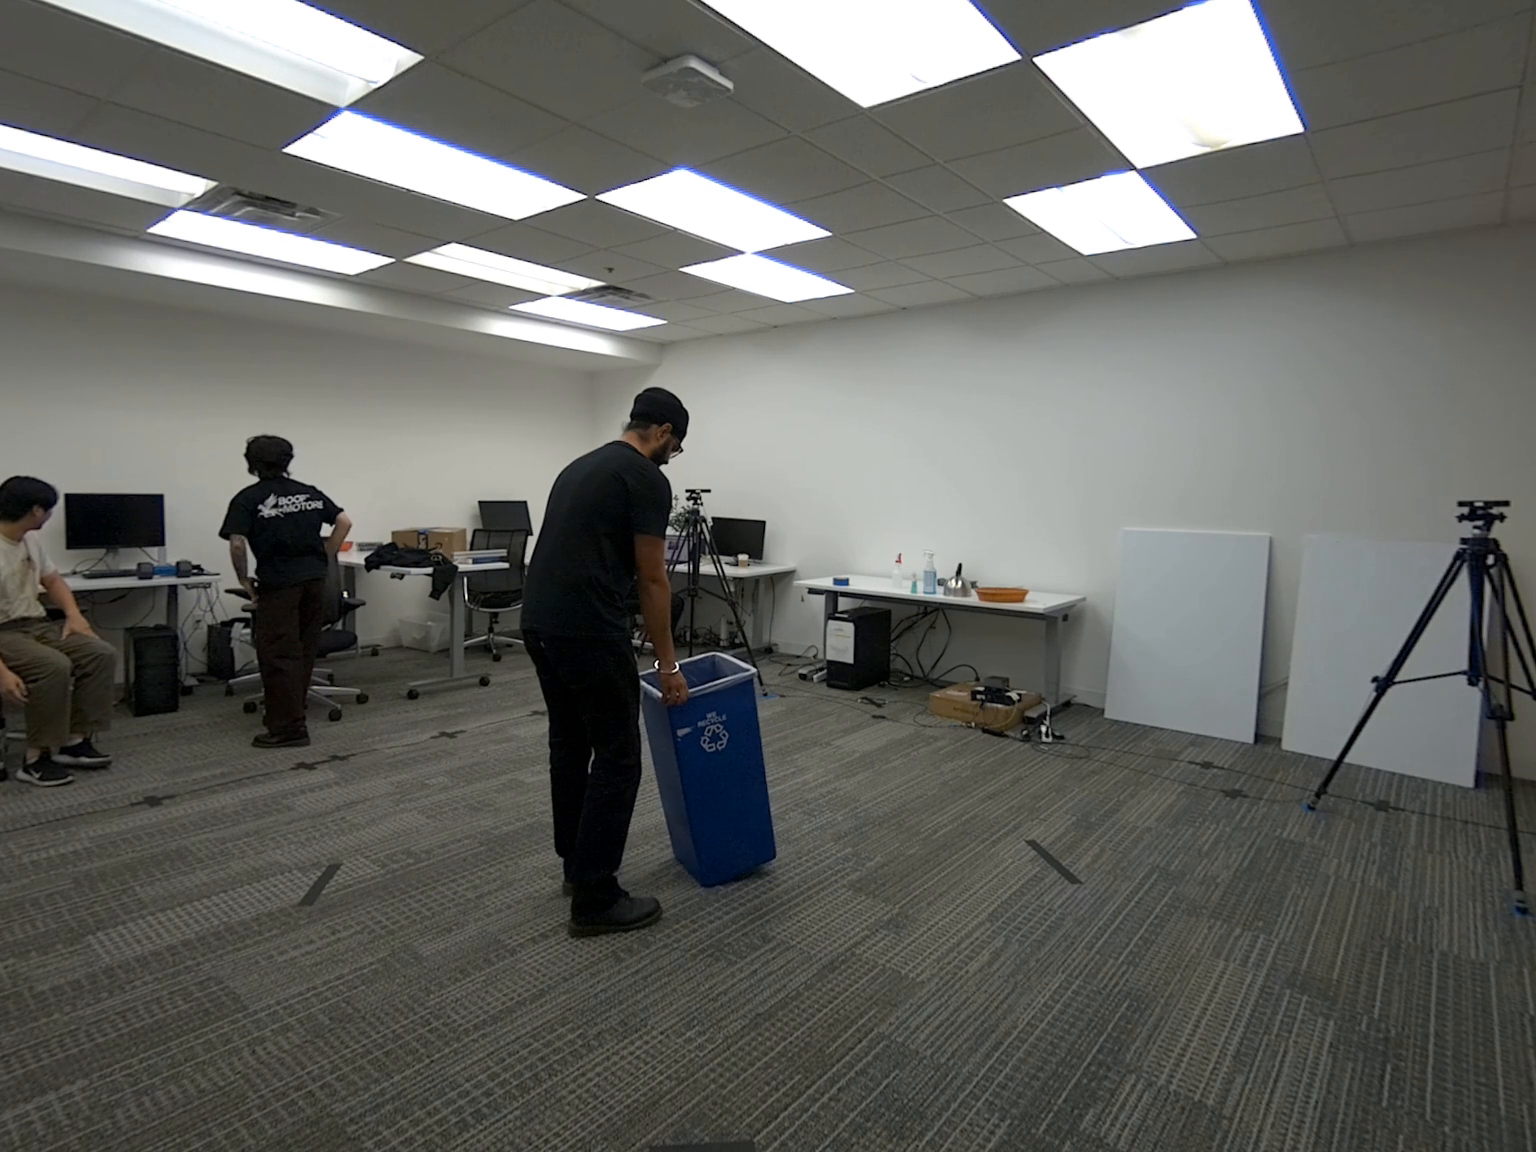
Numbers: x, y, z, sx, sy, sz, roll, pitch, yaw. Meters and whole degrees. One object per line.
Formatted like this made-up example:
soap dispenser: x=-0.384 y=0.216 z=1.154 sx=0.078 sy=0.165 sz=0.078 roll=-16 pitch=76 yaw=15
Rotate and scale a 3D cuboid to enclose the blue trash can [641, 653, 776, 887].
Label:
blue trash can: x=-0.231 y=0.693 z=3.104 sx=0.367 sy=0.708 sz=0.388 roll=-13 pitch=8 yaw=-26
